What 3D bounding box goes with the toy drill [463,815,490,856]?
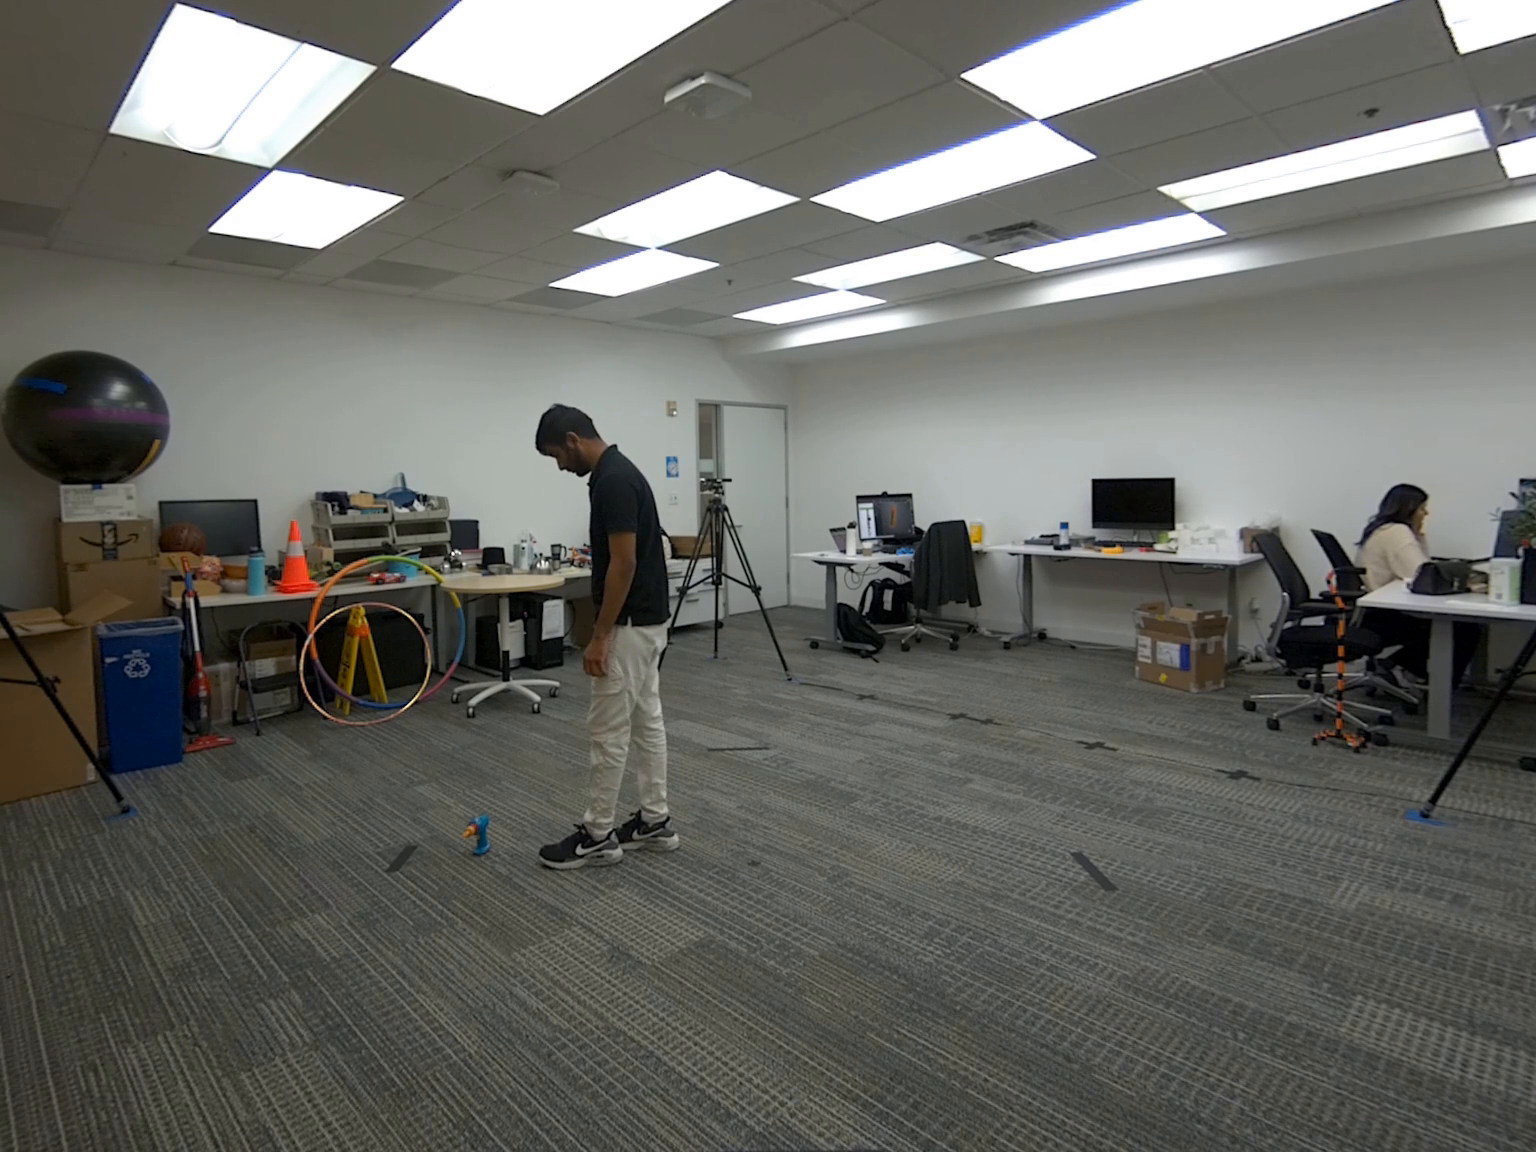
[{"bbox_3d":[-1.096,0.985,3.210,0.061,0.145,0.169,0,5,6],"label":"toy drill"}]
